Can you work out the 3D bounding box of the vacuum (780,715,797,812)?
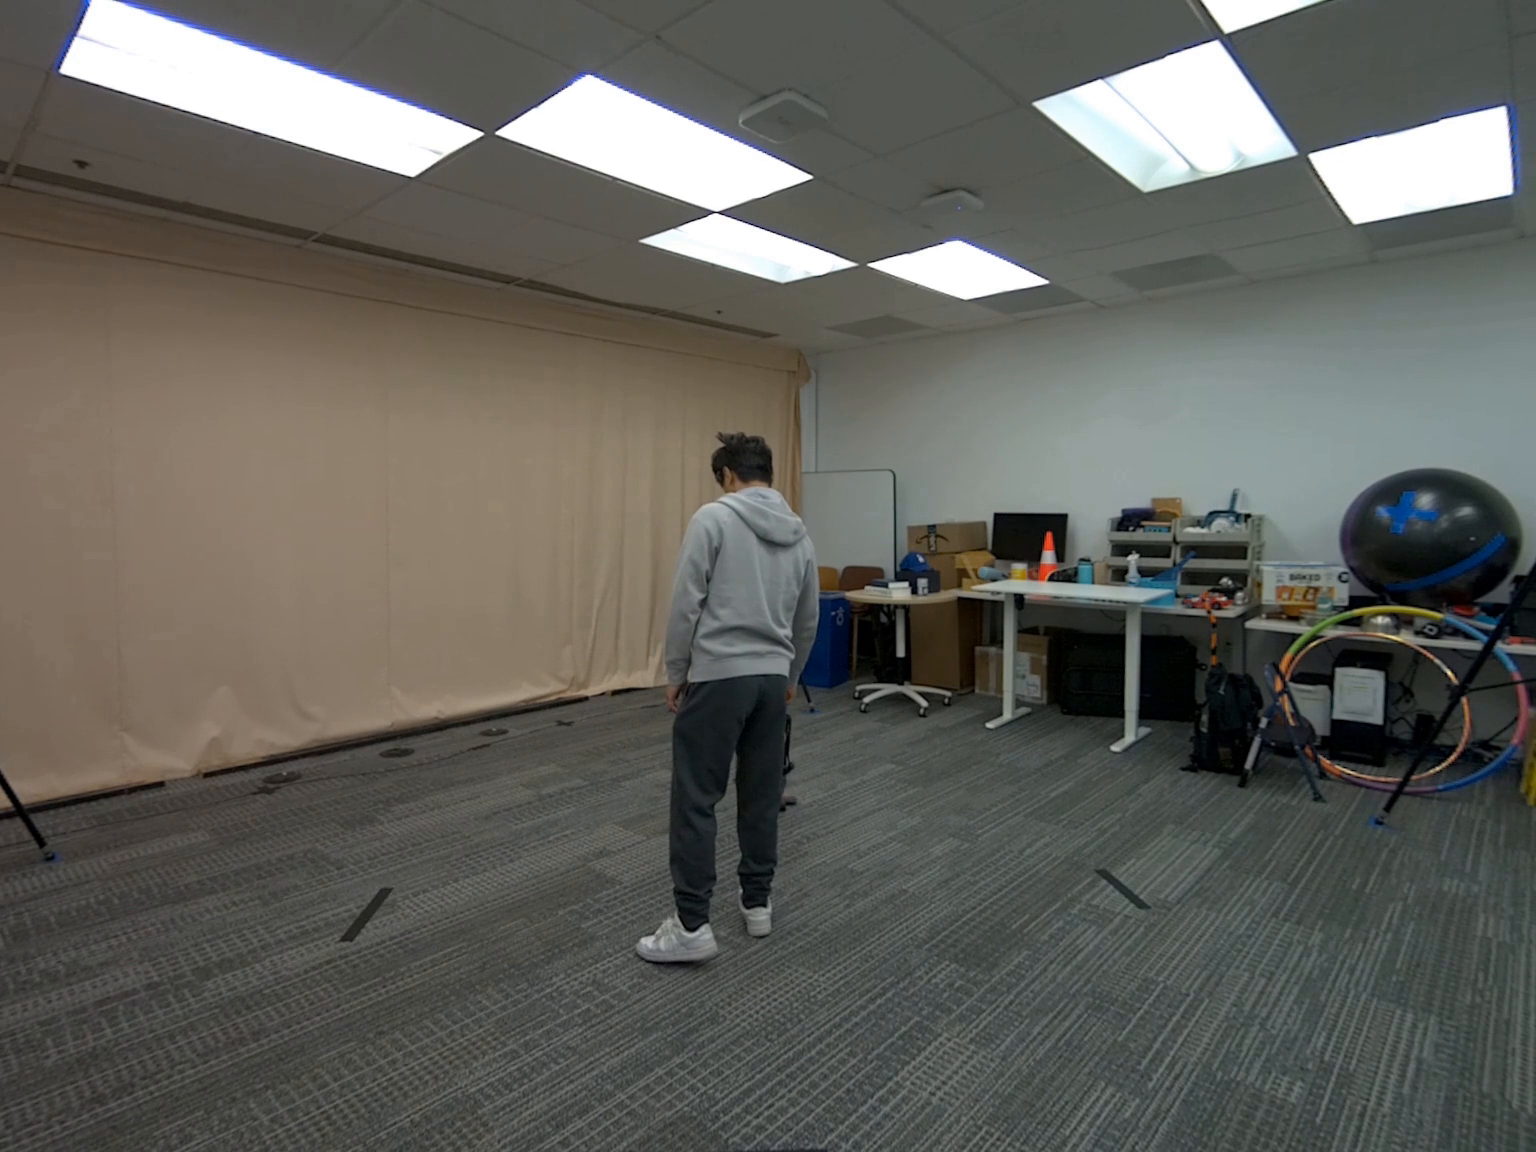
[{"bbox_3d":[0.037,0.751,3.479,0.251,0.147,1.033,-2,-36,-6],"label":"vacuum"}]
